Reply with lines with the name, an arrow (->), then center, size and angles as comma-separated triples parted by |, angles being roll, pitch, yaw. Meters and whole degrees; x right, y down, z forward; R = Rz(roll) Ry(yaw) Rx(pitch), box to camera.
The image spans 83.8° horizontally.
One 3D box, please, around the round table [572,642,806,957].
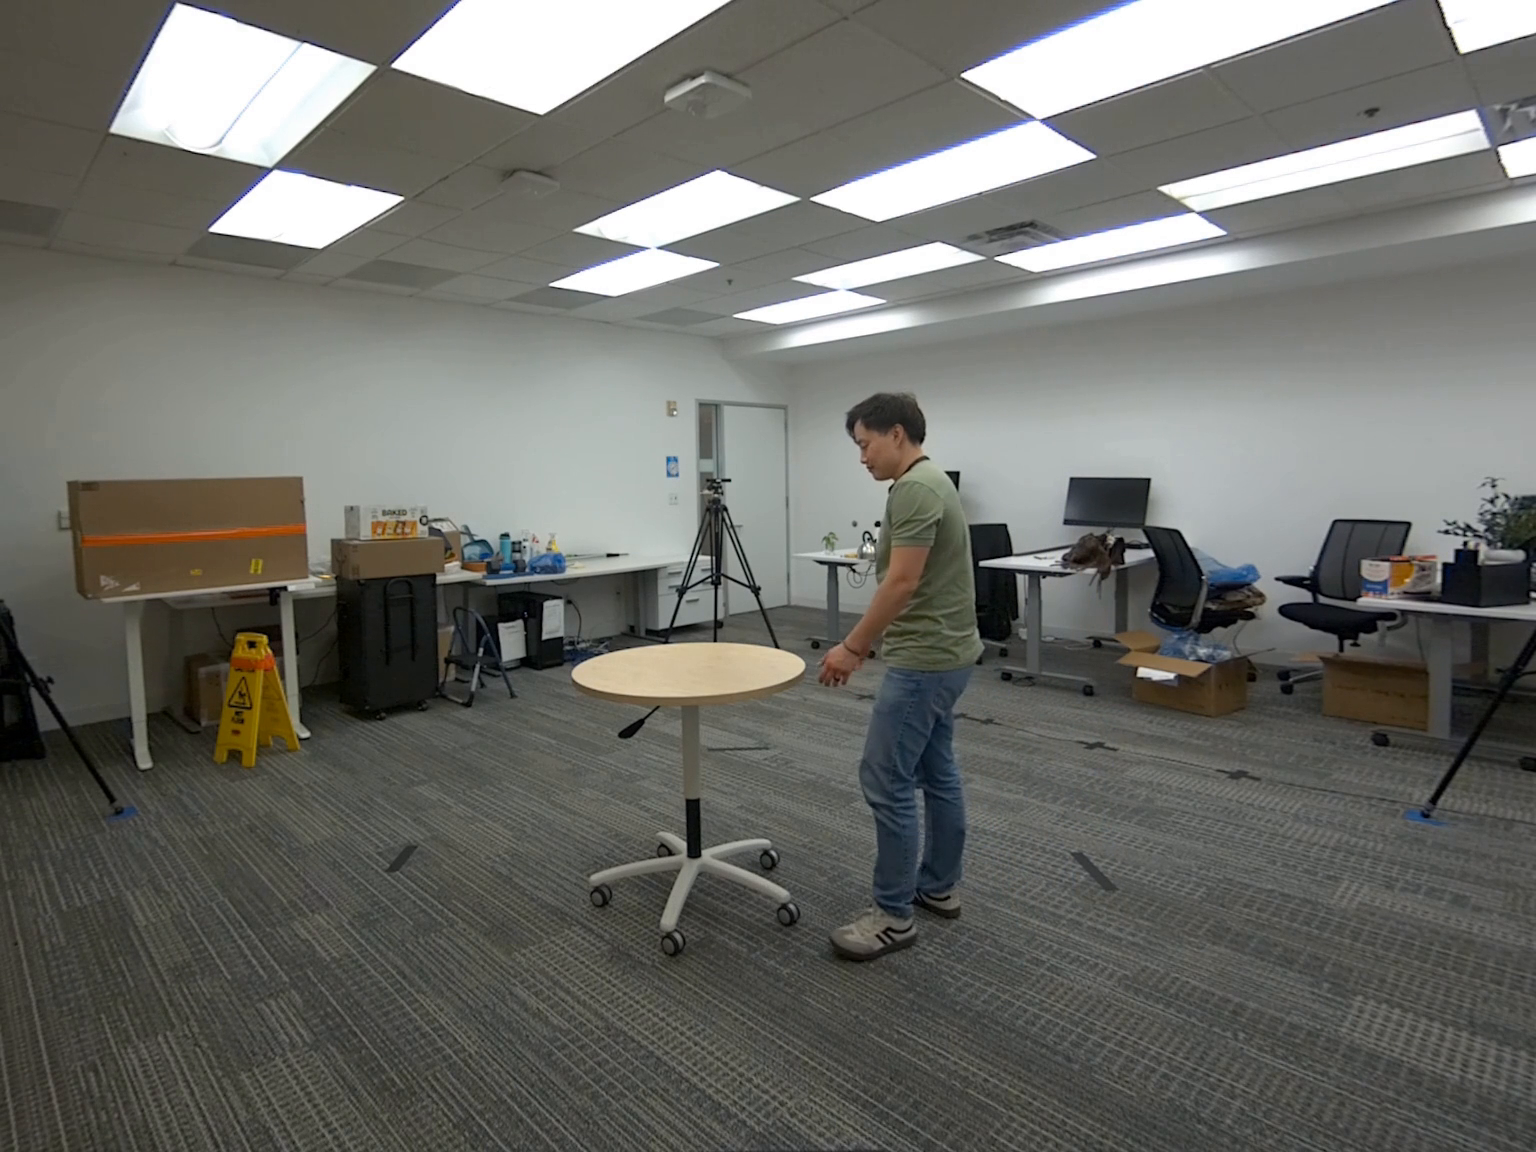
round table -> -0.241, 0.689, 2.843 | 0.763, 0.790, 0.768 | -2, 5, -2
